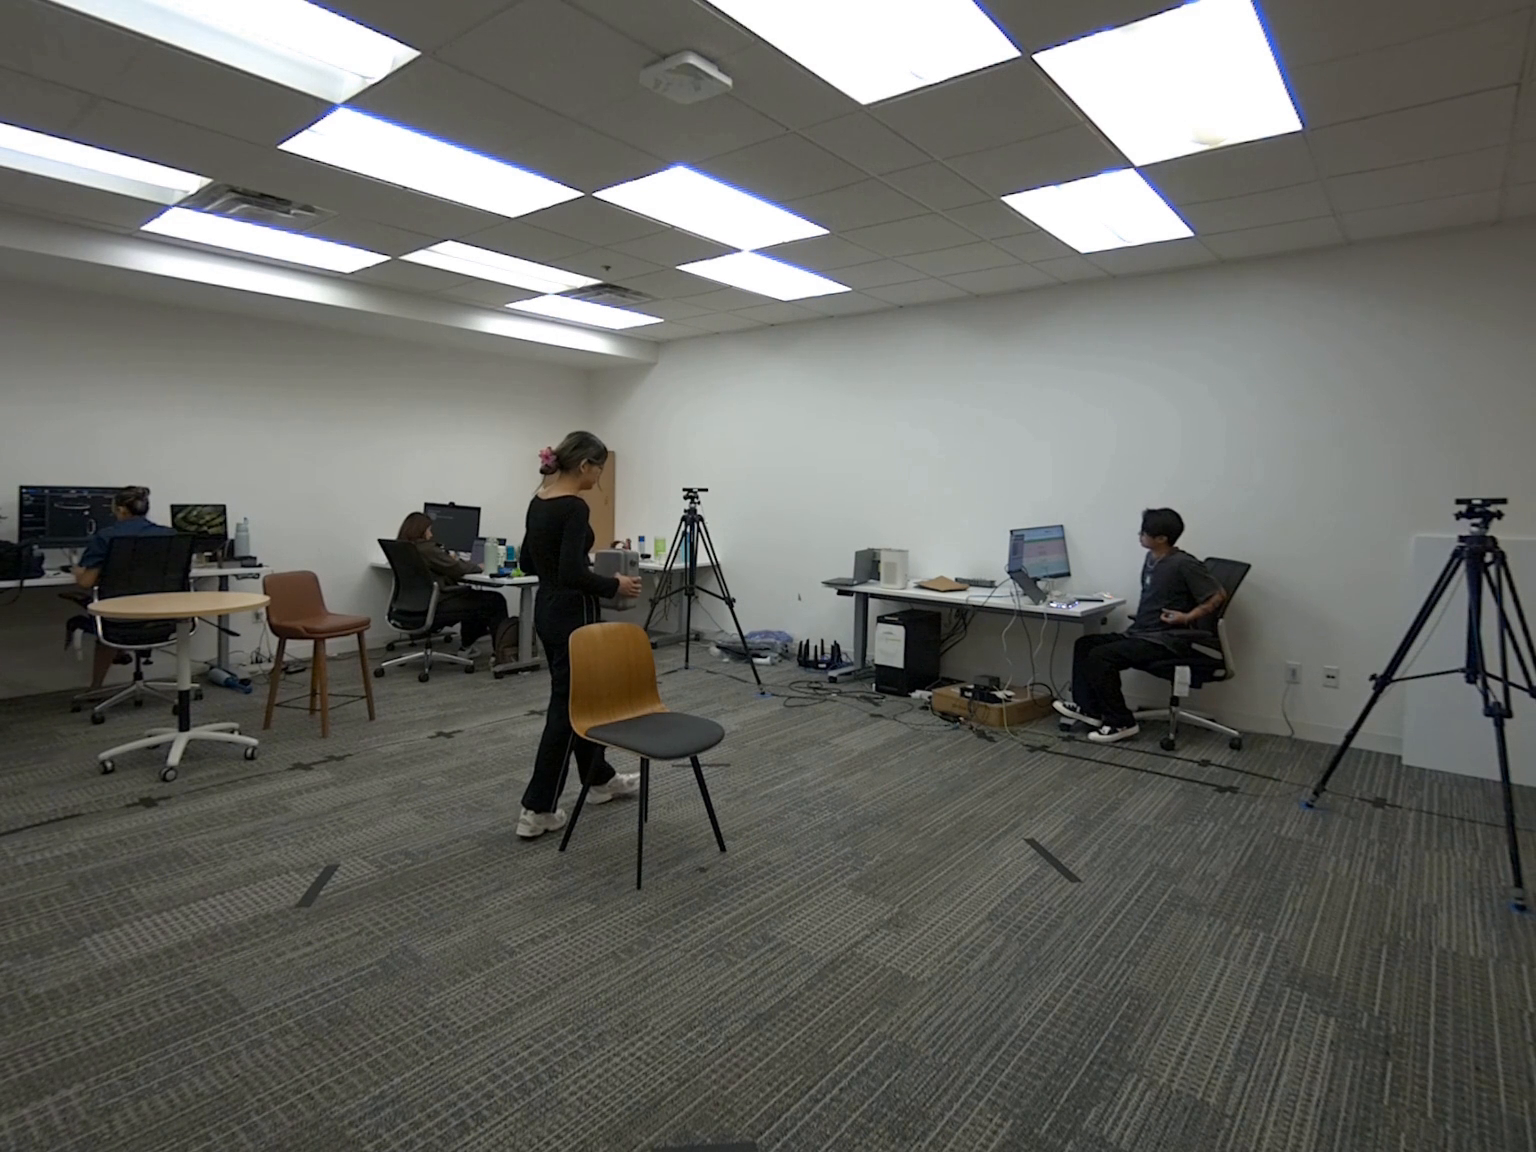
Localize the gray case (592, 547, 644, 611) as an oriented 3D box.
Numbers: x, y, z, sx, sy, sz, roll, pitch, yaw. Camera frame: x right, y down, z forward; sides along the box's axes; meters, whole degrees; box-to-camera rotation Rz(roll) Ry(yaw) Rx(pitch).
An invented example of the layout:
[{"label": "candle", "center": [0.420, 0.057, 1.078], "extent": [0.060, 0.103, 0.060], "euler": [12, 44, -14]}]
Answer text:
[{"label": "gray case", "center": [-0.660, 0.009, 3.648], "extent": [0.101, 0.261, 0.265], "euler": [5, -2, -38]}]
